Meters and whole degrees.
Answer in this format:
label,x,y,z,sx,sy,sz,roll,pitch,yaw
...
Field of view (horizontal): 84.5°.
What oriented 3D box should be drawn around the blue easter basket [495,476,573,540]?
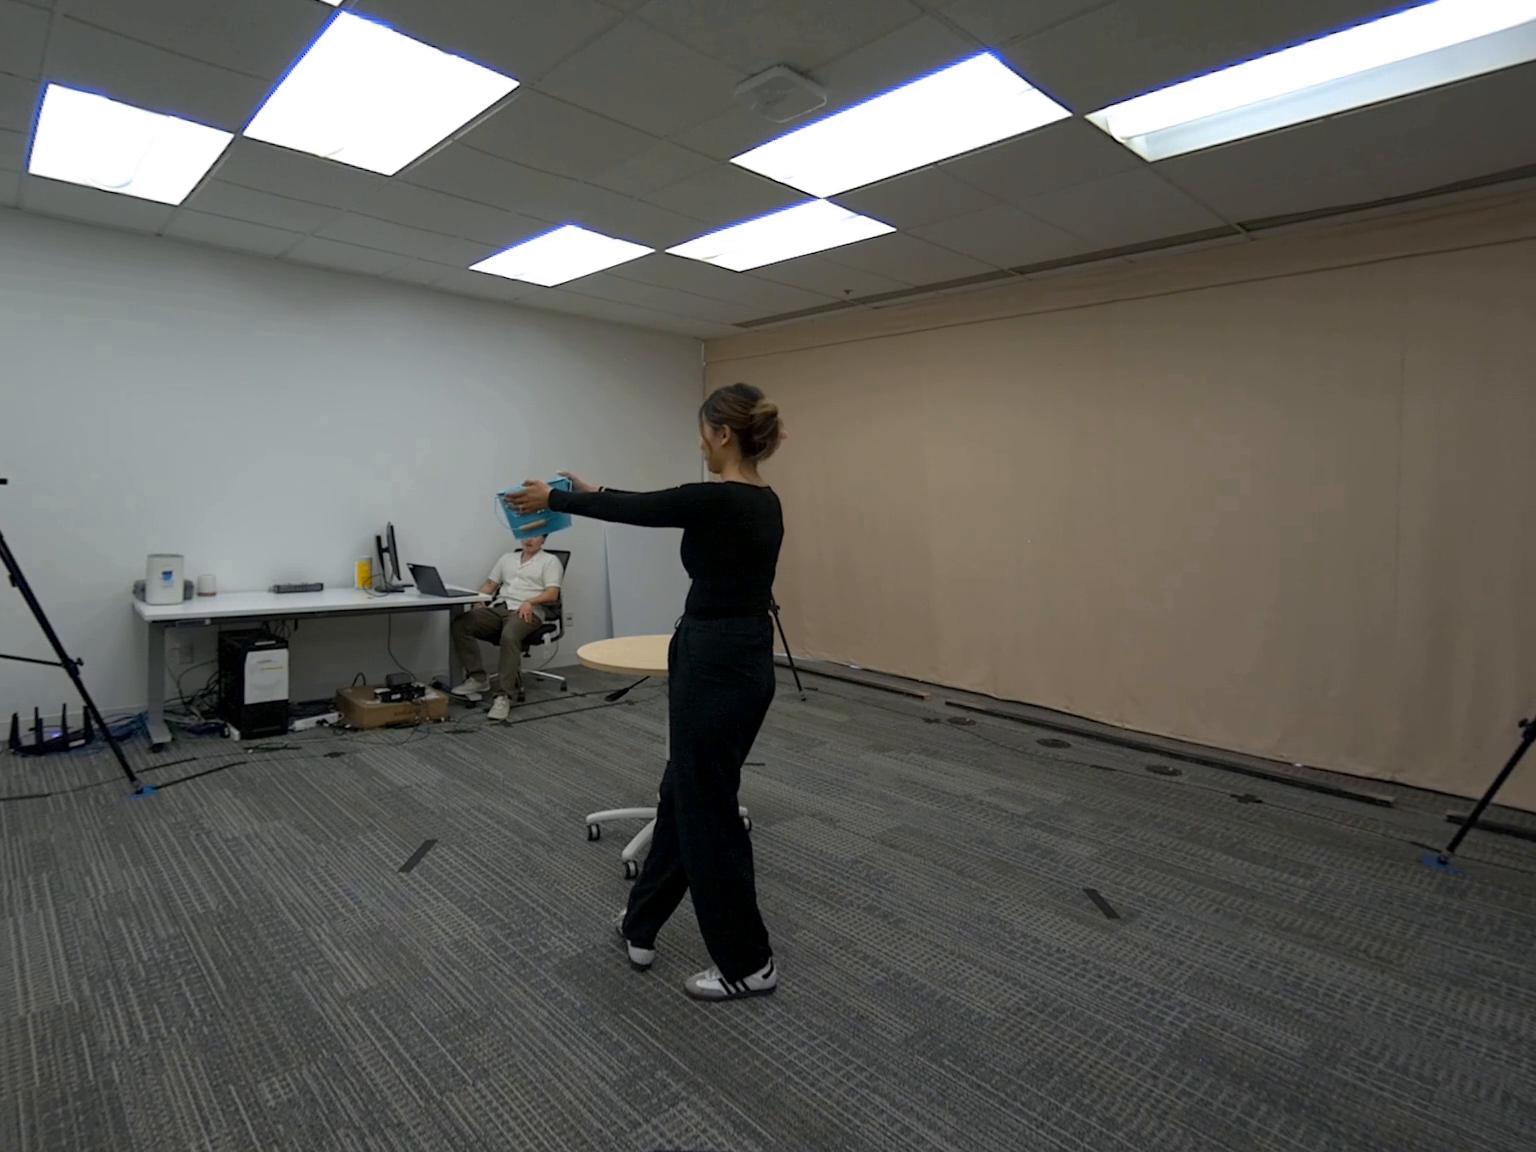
label,x,y,z,sx,sy,sz,roll,pitch,yaw
blue easter basket,-0.734,-0.206,2.613,0.244,0.155,0.245,-10,10,0
